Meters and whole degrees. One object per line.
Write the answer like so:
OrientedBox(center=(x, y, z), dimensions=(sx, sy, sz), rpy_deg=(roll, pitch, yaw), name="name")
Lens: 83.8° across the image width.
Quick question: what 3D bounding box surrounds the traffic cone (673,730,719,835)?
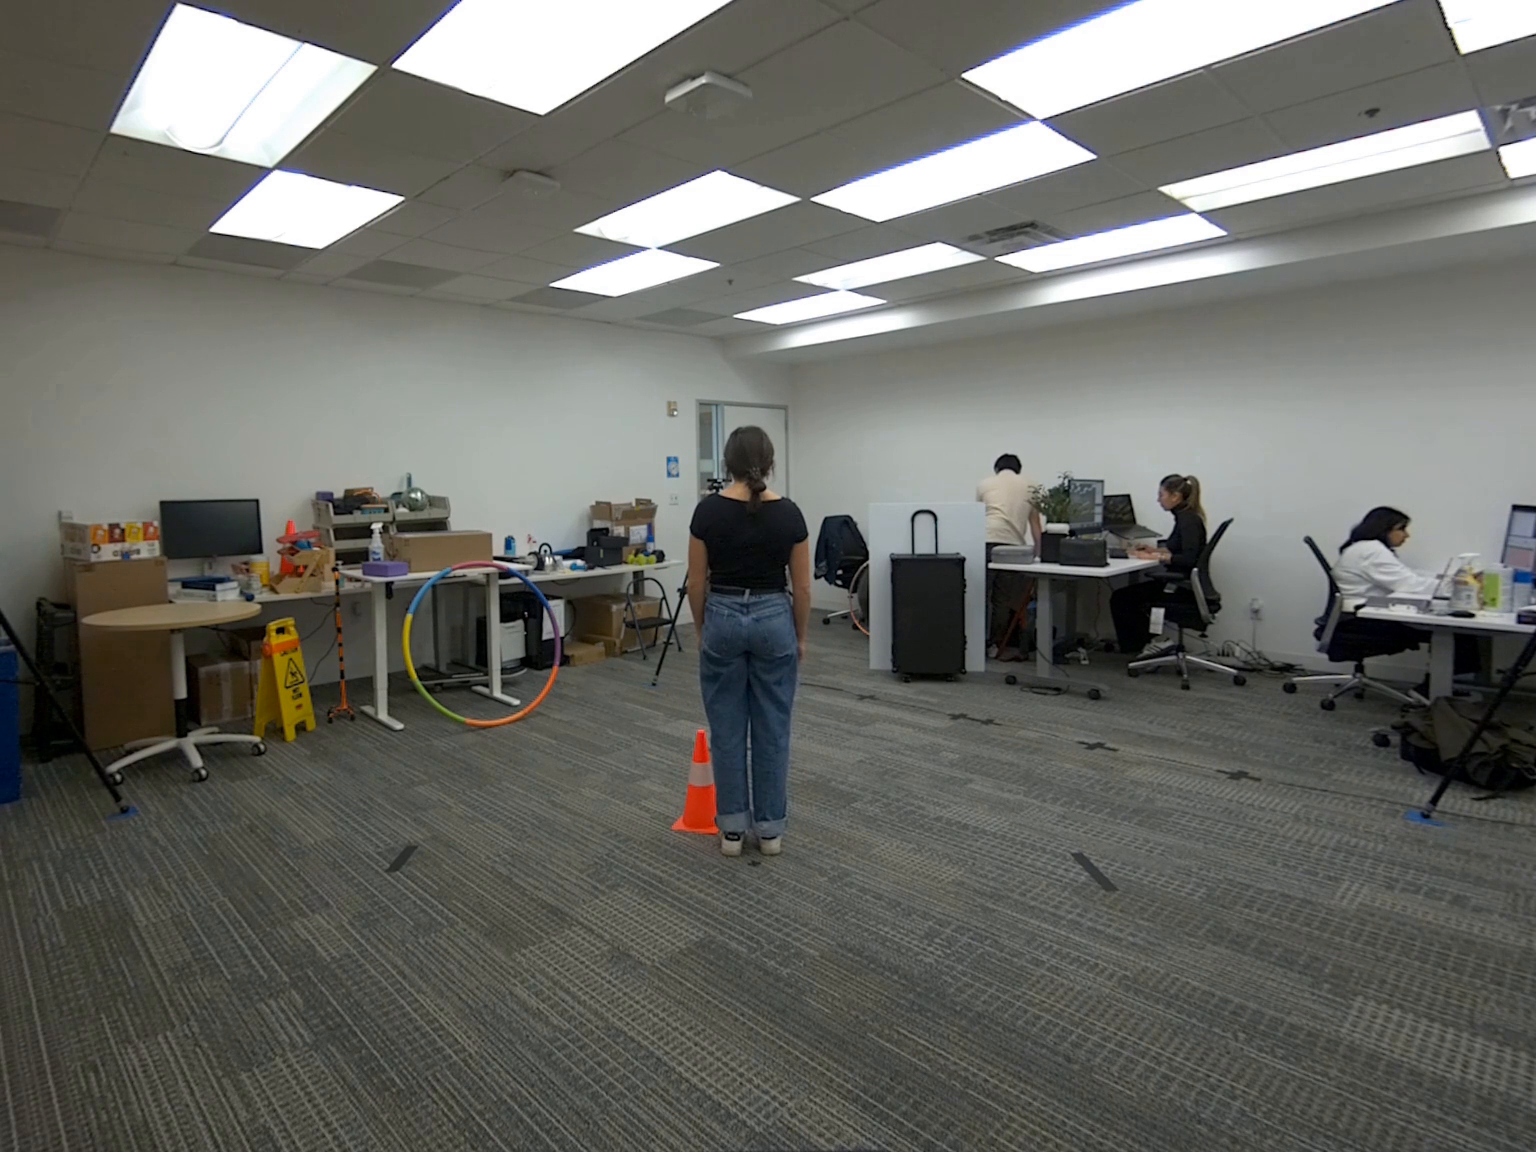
OrientedBox(center=(-0.266, 0.819, 3.486), dimensions=(0.209, 0.382, 0.201), rpy_deg=(0, 5, 18), name="traffic cone")
